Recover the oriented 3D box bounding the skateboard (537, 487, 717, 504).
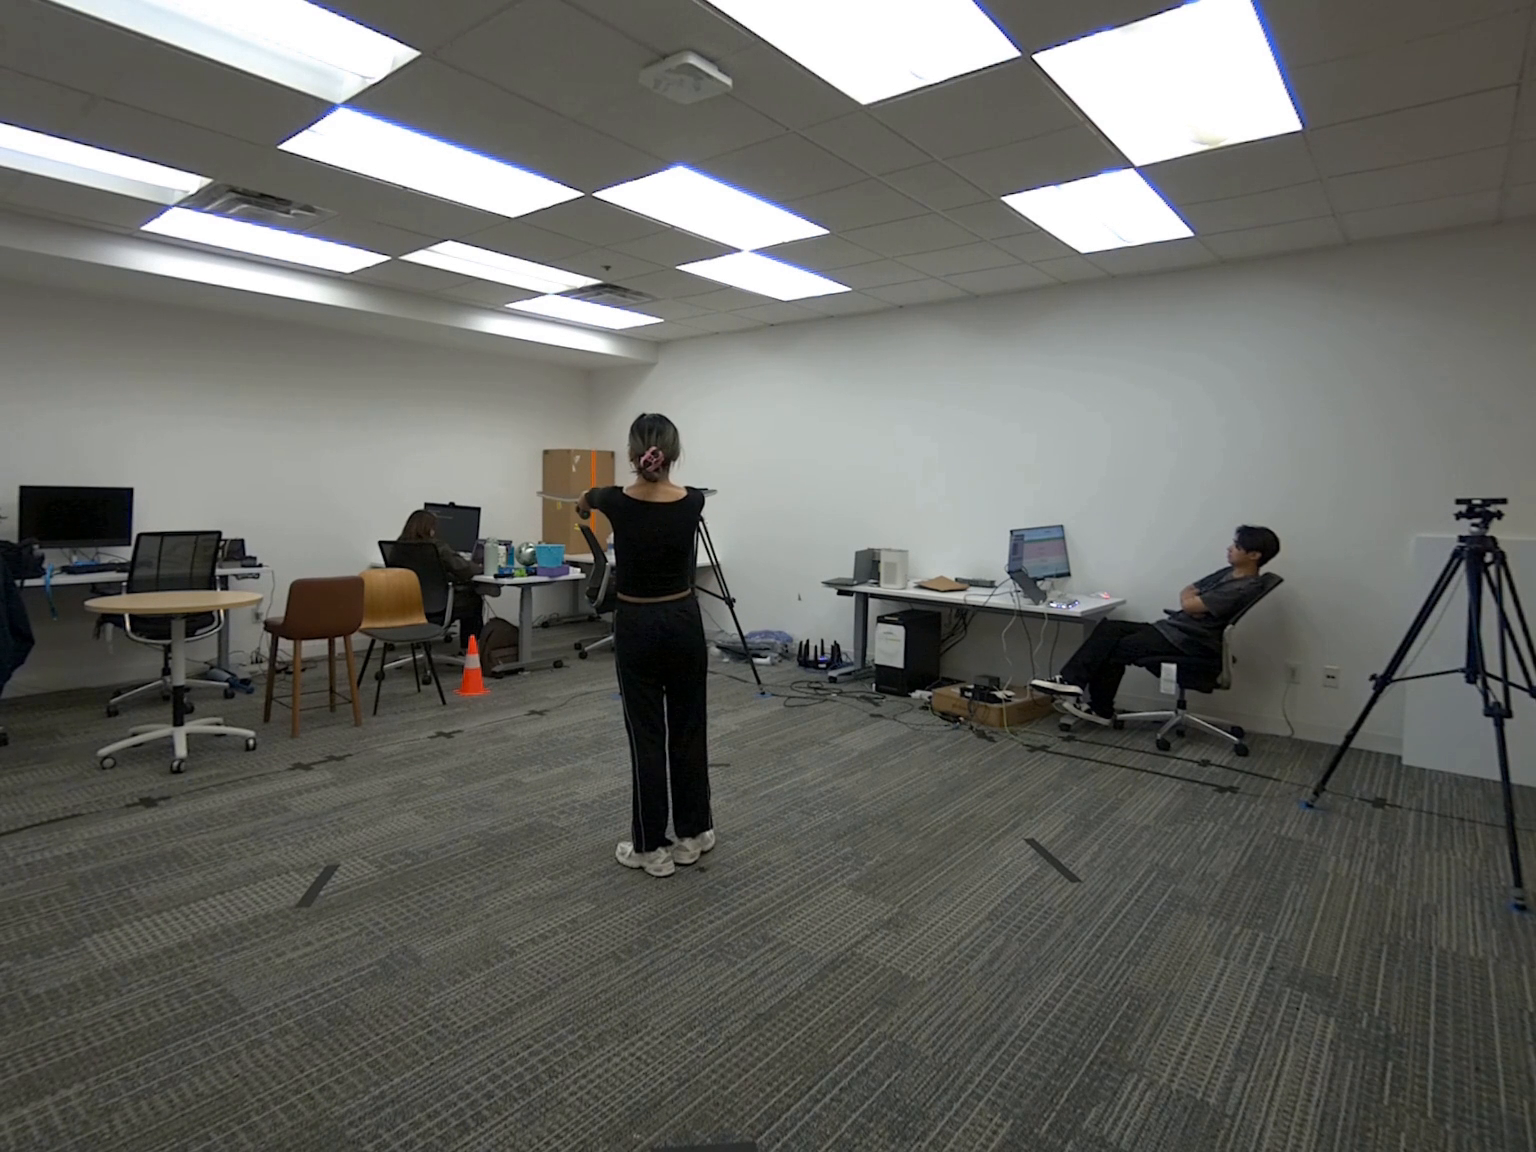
[{"bbox_3d":[-0.619,-0.317,3.698,0.773,0.109,0.198,-3,10,-16],"label":"skateboard"}]
